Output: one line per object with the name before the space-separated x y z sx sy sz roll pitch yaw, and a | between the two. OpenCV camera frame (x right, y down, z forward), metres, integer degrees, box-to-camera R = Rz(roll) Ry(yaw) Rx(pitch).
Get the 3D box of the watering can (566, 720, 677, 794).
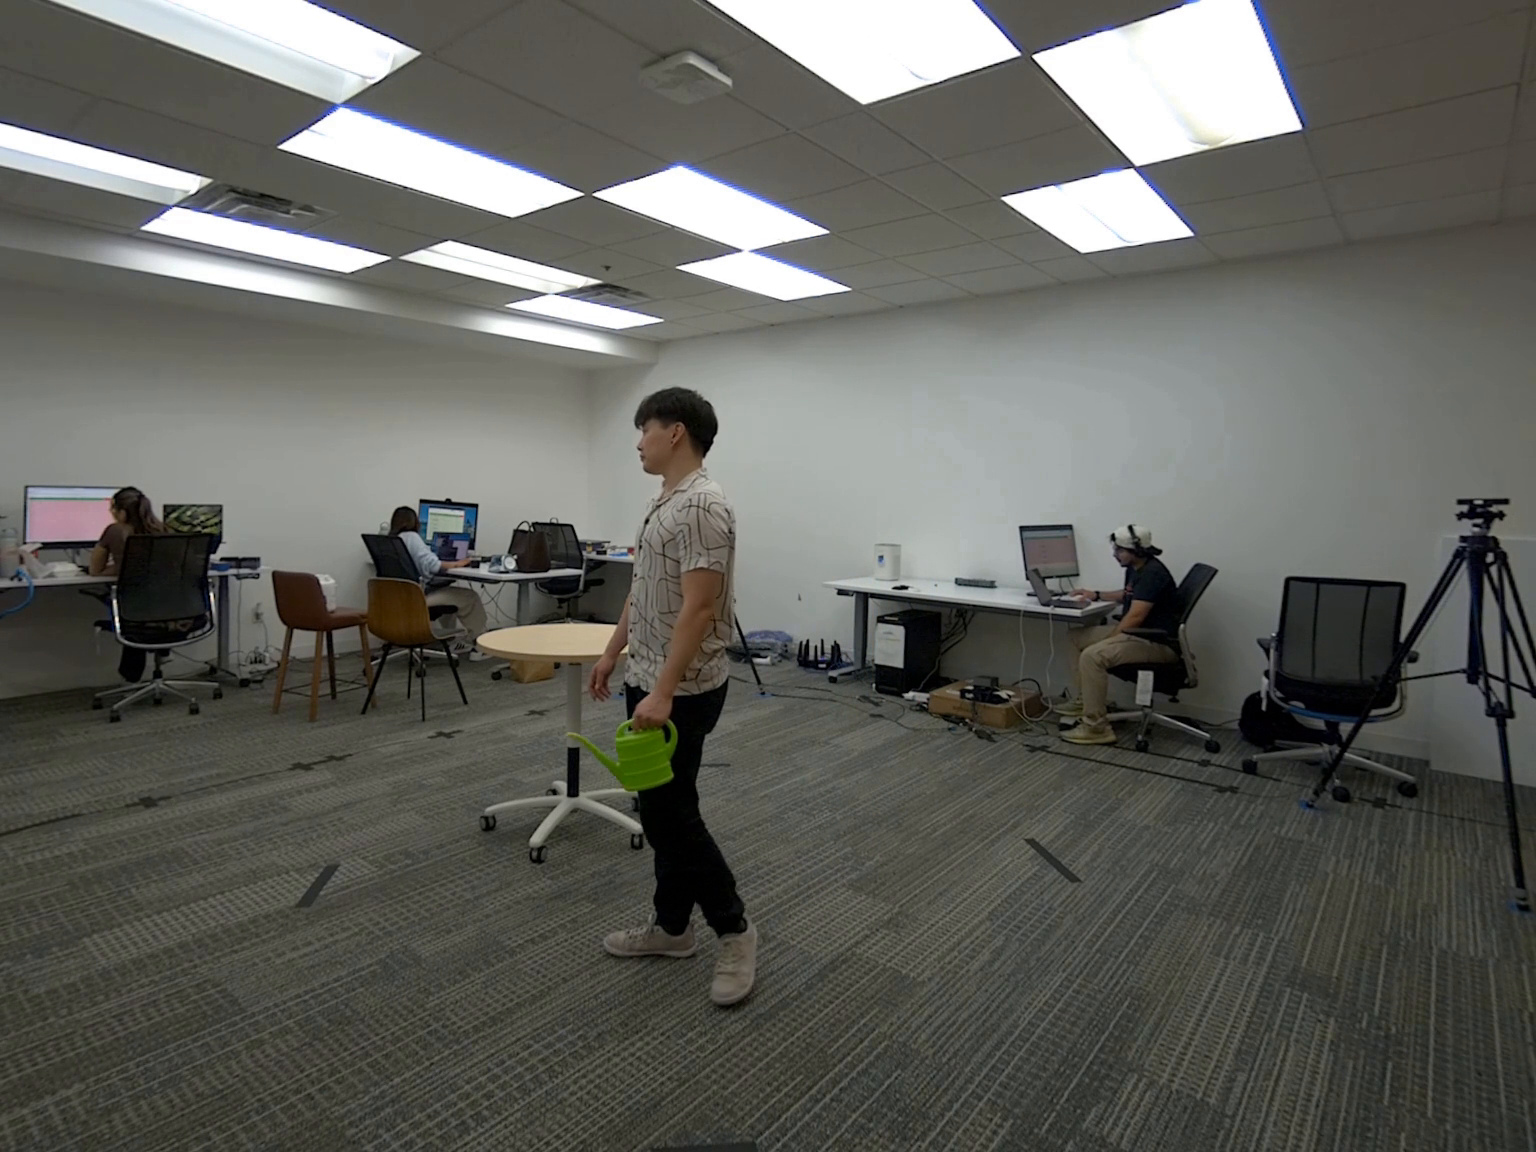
watering can | -0.376 0.458 2.193 0.280 0.177 0.097 -10 -2 7
